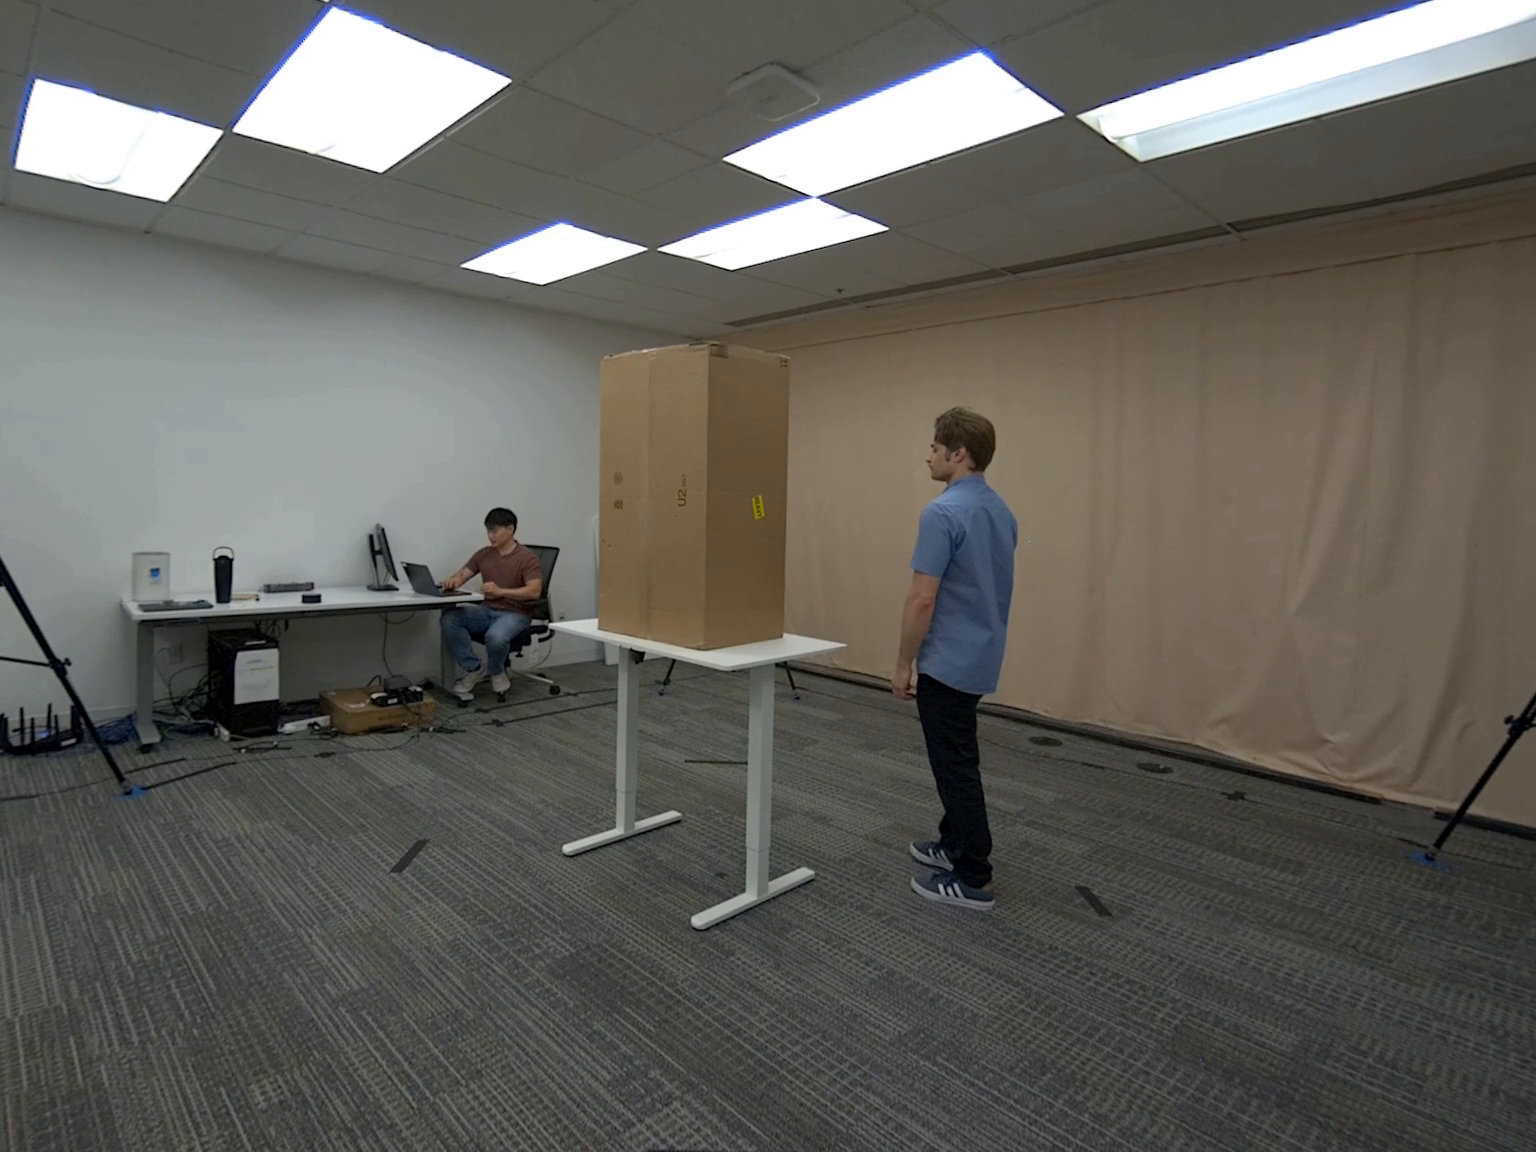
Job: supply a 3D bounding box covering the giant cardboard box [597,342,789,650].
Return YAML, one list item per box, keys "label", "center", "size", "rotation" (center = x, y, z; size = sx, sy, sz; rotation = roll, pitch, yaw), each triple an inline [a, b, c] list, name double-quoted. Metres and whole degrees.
- label: "giant cardboard box"
  center: [-0.285, -0.291, 3.109]
  size: [0.592, 1.023, 0.416]
  rotation: [5, 5, 43]
